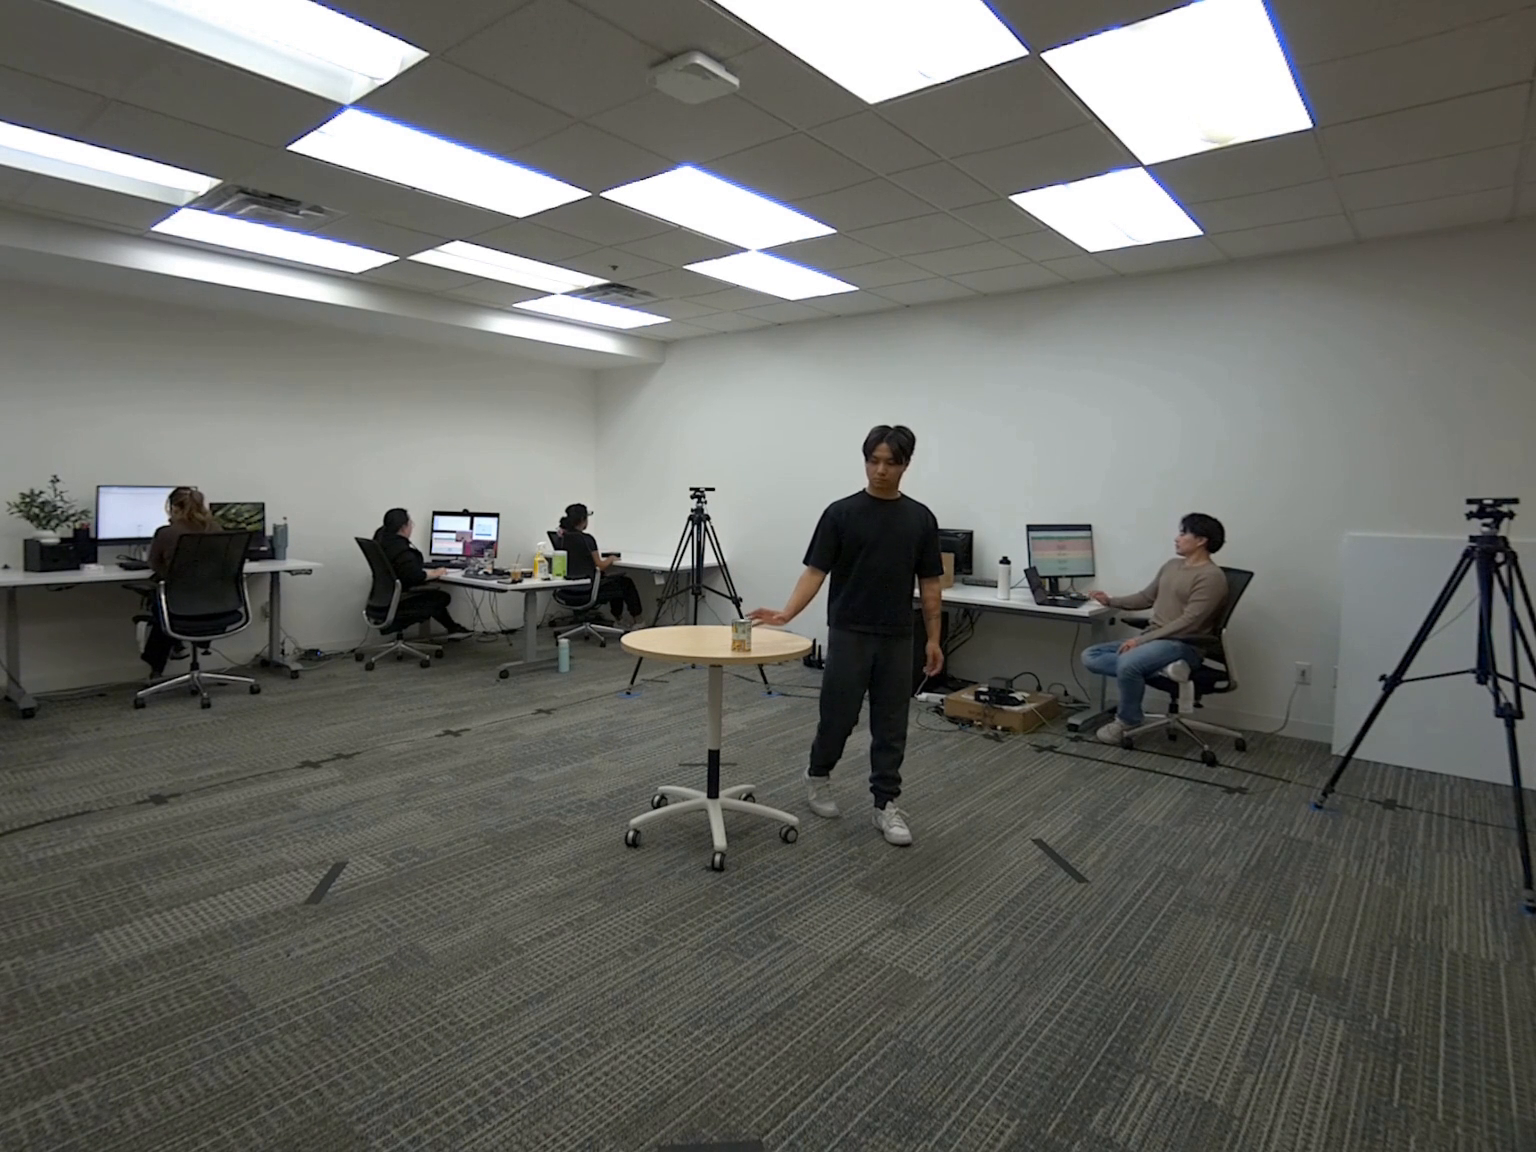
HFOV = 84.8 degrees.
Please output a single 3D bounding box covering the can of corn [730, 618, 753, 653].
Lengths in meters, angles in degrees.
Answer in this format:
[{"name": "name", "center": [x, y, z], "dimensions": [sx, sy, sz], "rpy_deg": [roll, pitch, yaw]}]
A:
[{"name": "can of corn", "center": [-0.107, 0.219, 3.192], "dimensions": [0.074, 0.111, 0.074], "rpy_deg": [5, 2, -2]}]
